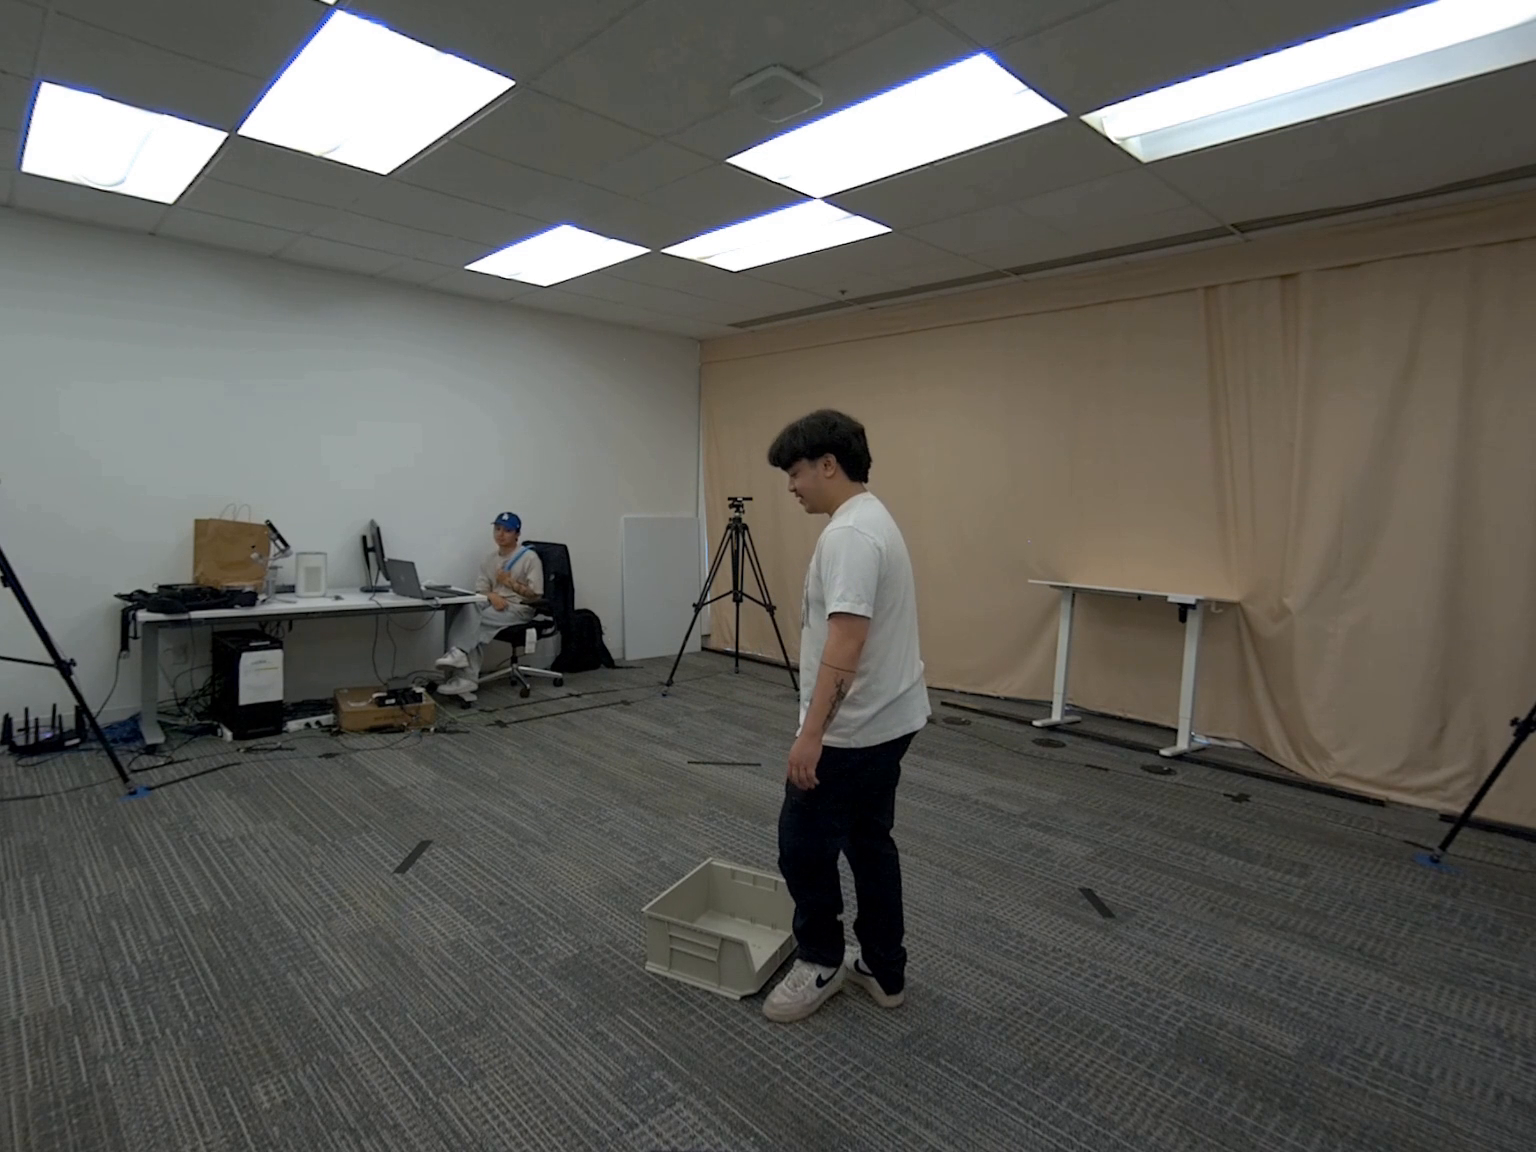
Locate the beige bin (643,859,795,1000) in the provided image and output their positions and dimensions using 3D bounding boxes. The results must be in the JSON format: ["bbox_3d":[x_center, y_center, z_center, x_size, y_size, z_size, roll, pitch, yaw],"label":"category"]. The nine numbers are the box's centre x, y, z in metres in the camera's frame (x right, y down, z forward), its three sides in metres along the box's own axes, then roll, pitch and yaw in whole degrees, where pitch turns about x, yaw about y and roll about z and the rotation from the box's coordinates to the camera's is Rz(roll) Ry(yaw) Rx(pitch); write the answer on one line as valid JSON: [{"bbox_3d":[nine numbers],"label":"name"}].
[{"bbox_3d":[-0.123,1.067,2.571,0.385,0.188,0.415,2,5,26],"label":"beige bin"}]
